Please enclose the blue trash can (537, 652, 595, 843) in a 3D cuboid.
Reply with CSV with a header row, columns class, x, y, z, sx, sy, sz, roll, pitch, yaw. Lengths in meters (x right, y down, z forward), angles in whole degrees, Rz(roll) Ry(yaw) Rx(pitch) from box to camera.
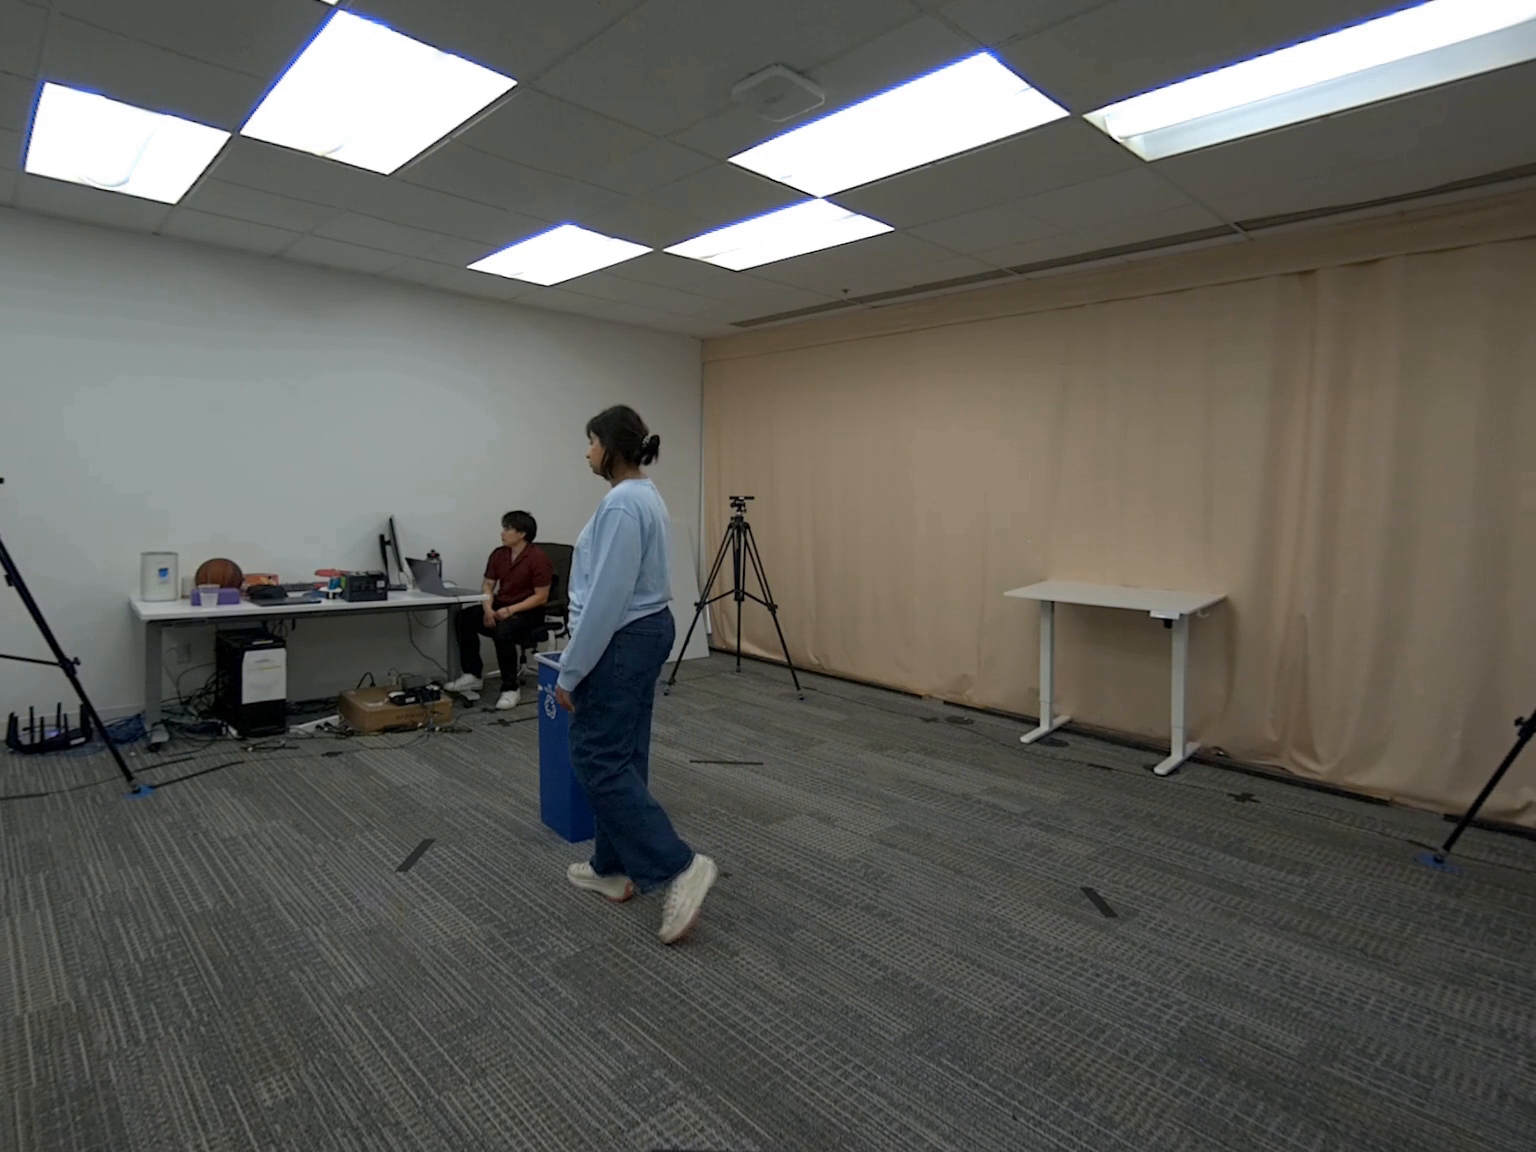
class,x,y,z,sx,sy,sz,roll,pitch,yaw
blue trash can,-0.758,0.695,3.536,0.365,0.712,0.388,-1,5,-40
